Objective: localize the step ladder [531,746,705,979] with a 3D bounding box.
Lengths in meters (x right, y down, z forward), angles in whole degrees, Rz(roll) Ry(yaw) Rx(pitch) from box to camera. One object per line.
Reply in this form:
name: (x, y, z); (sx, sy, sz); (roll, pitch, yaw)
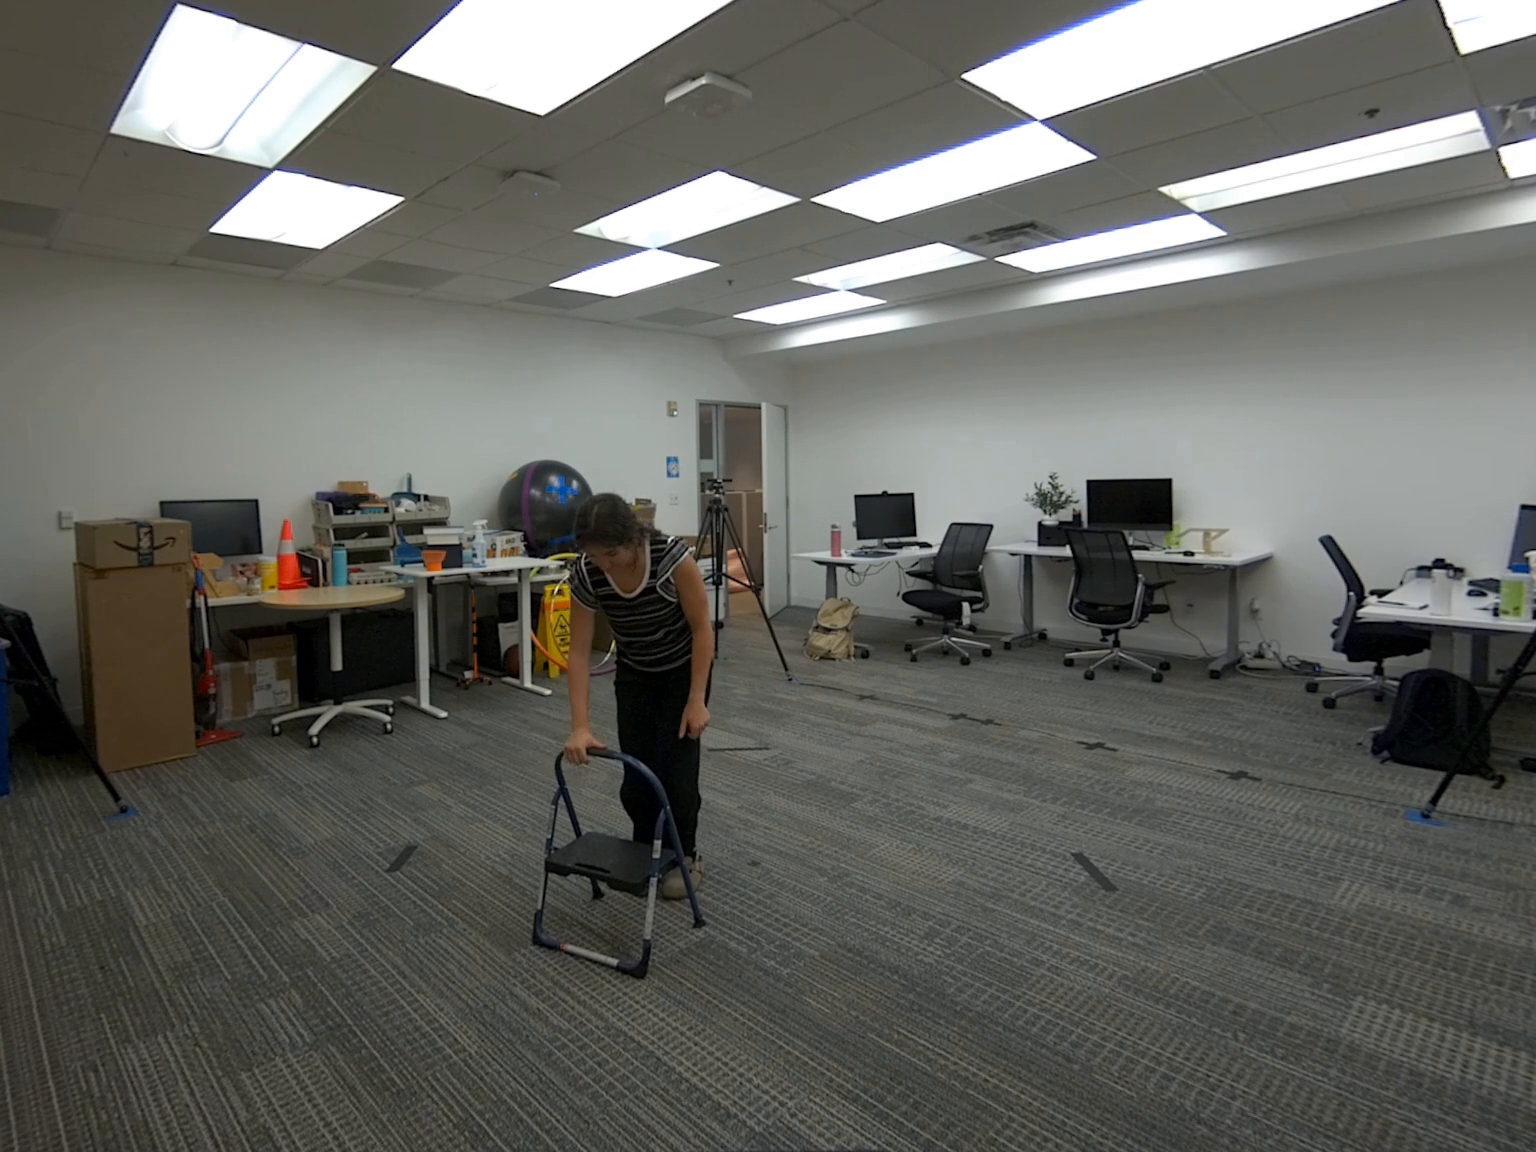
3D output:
step ladder: (-0.465, 0.809, 2.625); (0.441, 0.603, 0.342); (1, 5, 27)
